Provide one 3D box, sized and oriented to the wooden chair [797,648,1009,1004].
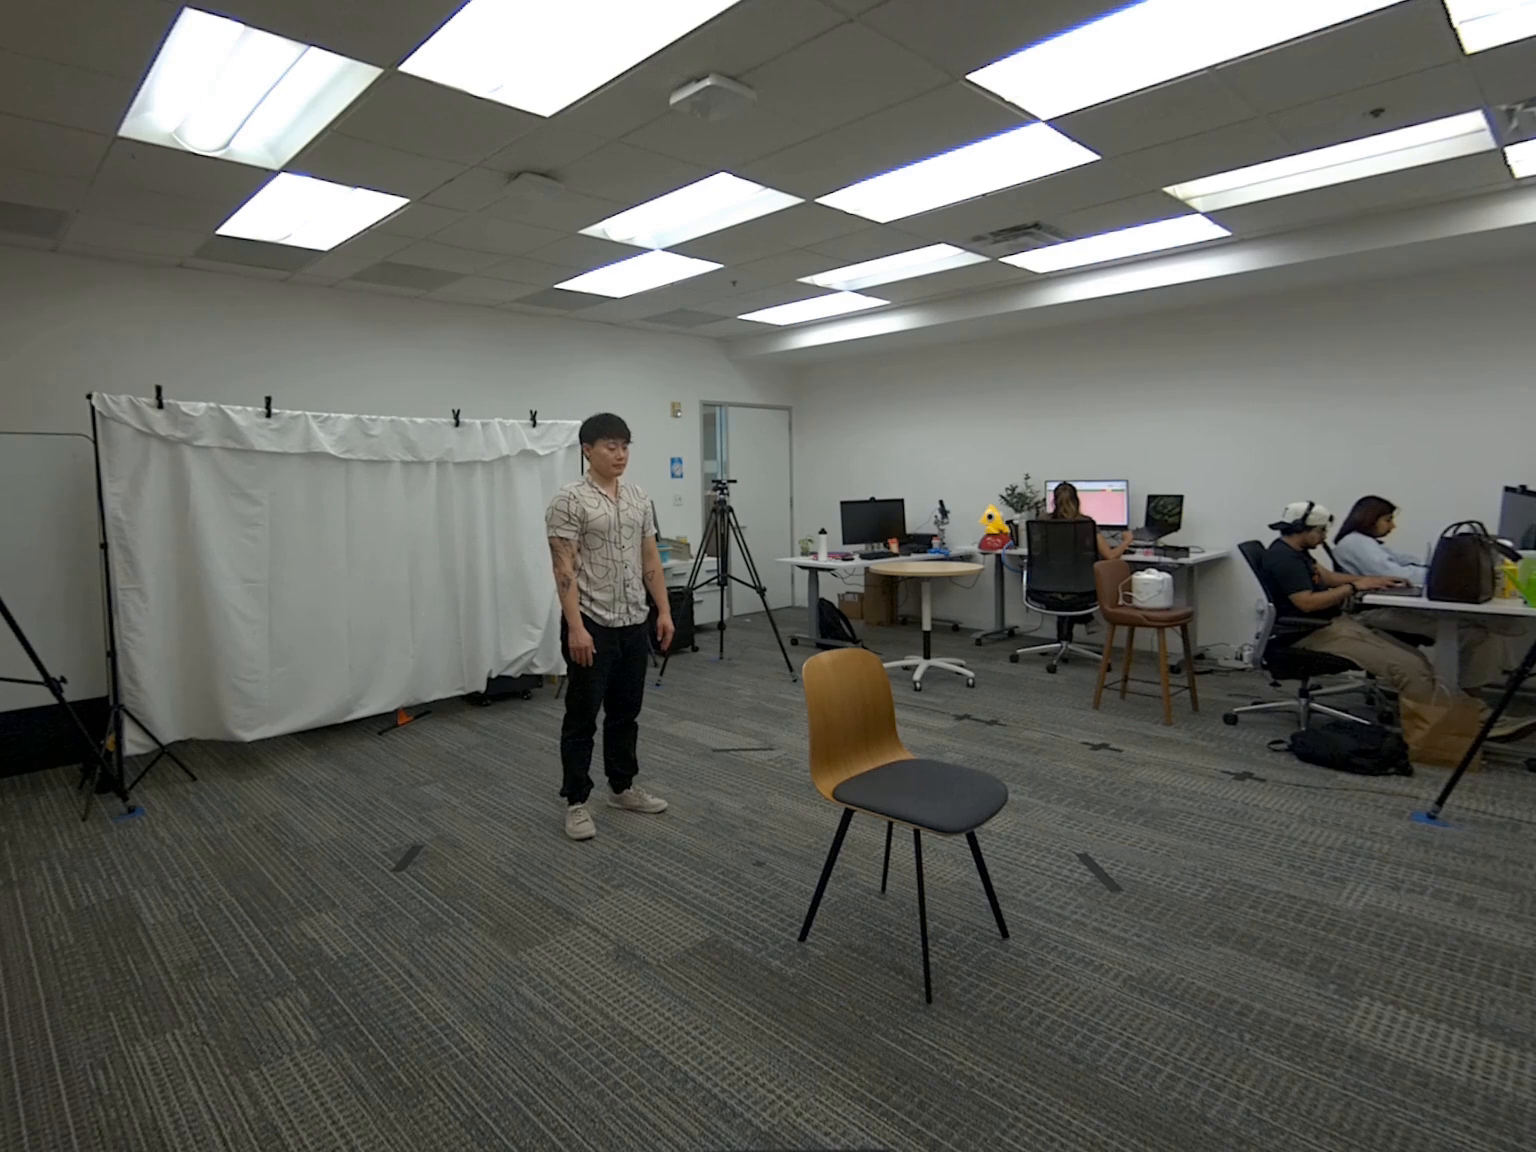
[{"bbox_3d":[0.410,0.675,2.543,0.537,0.877,0.465,-3,1,43],"label":"wooden chair"}]
